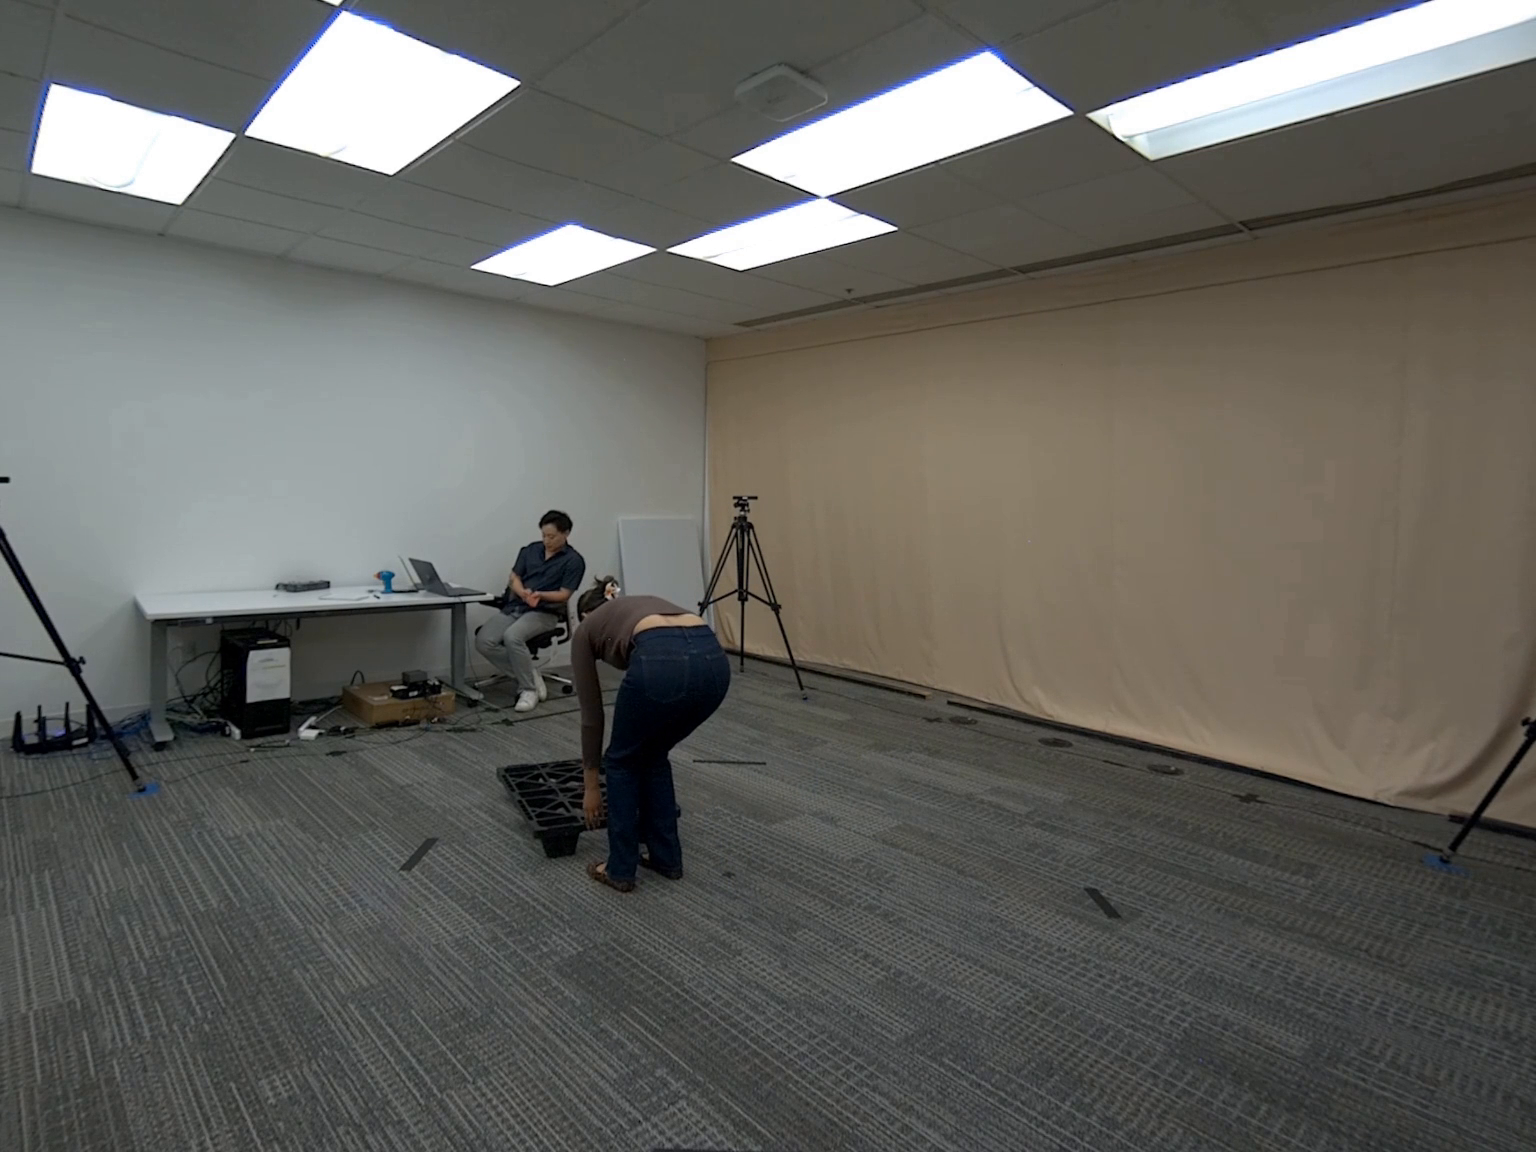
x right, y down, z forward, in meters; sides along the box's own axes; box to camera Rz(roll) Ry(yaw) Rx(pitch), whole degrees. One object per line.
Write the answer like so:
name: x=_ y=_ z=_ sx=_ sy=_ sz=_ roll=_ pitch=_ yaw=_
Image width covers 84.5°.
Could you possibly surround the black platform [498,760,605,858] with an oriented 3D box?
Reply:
black platform: x=-0.809 y=0.975 z=3.624 sx=0.594 sy=0.143 sz=0.823 roll=-2 pitch=6 yaw=-27
